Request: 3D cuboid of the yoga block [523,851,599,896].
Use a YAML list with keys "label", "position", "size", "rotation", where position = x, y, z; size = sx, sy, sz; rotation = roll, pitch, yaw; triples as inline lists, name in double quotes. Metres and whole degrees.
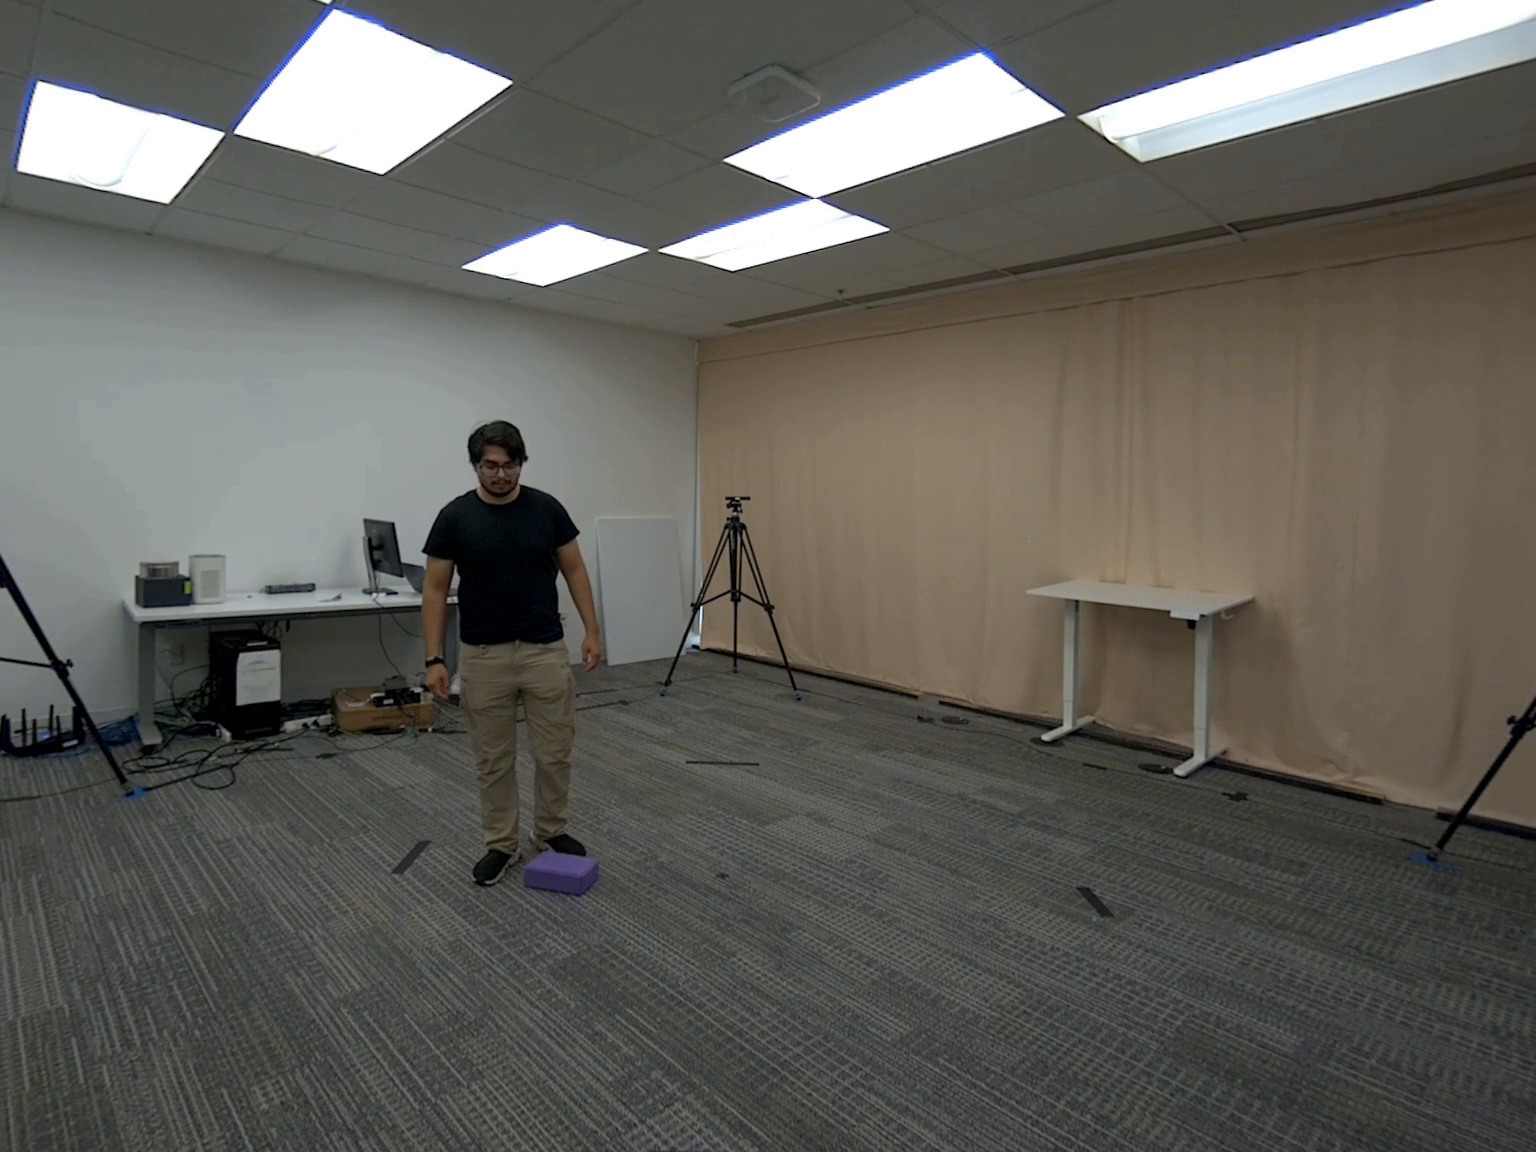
- label: "yoga block"
  position: [-0.747, 1.066, 3.007]
  size: [0.232, 0.076, 0.147]
  rotation: [3, 5, 16]
